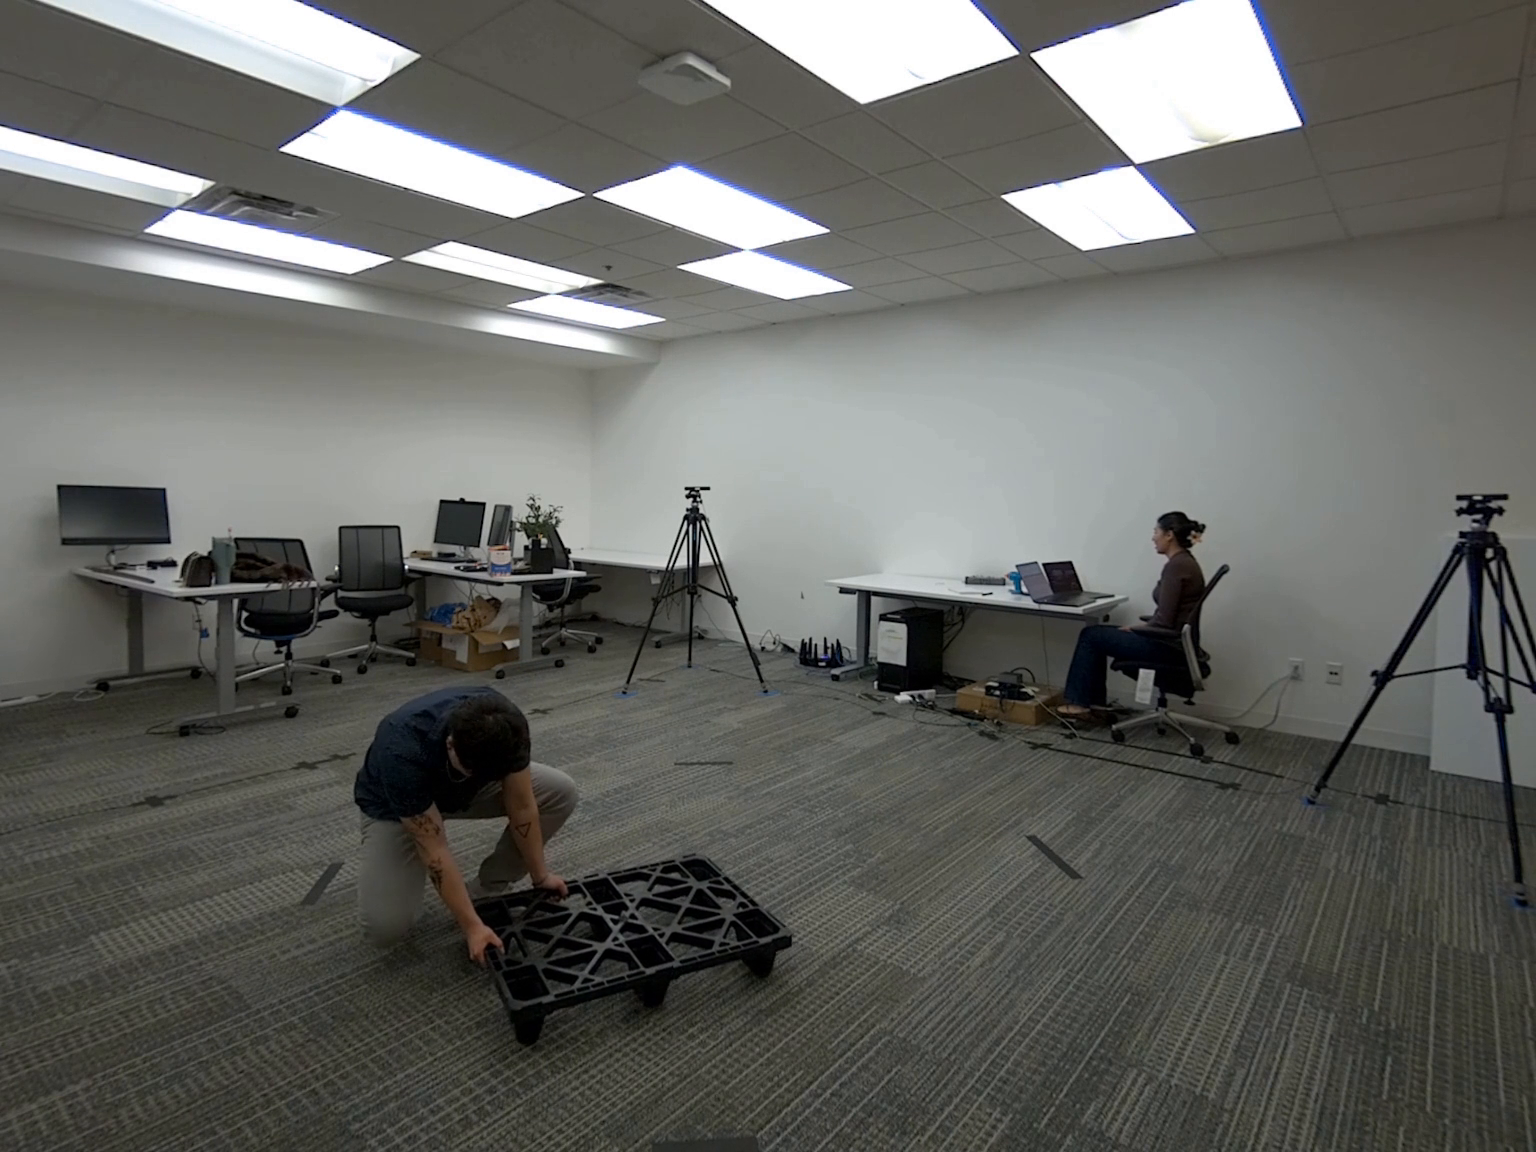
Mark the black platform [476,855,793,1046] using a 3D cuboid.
[{"bbox_3d":[-0.414,1.061,2.471,0.786,0.142,0.624,-3,8,-28],"label":"black platform"}]
